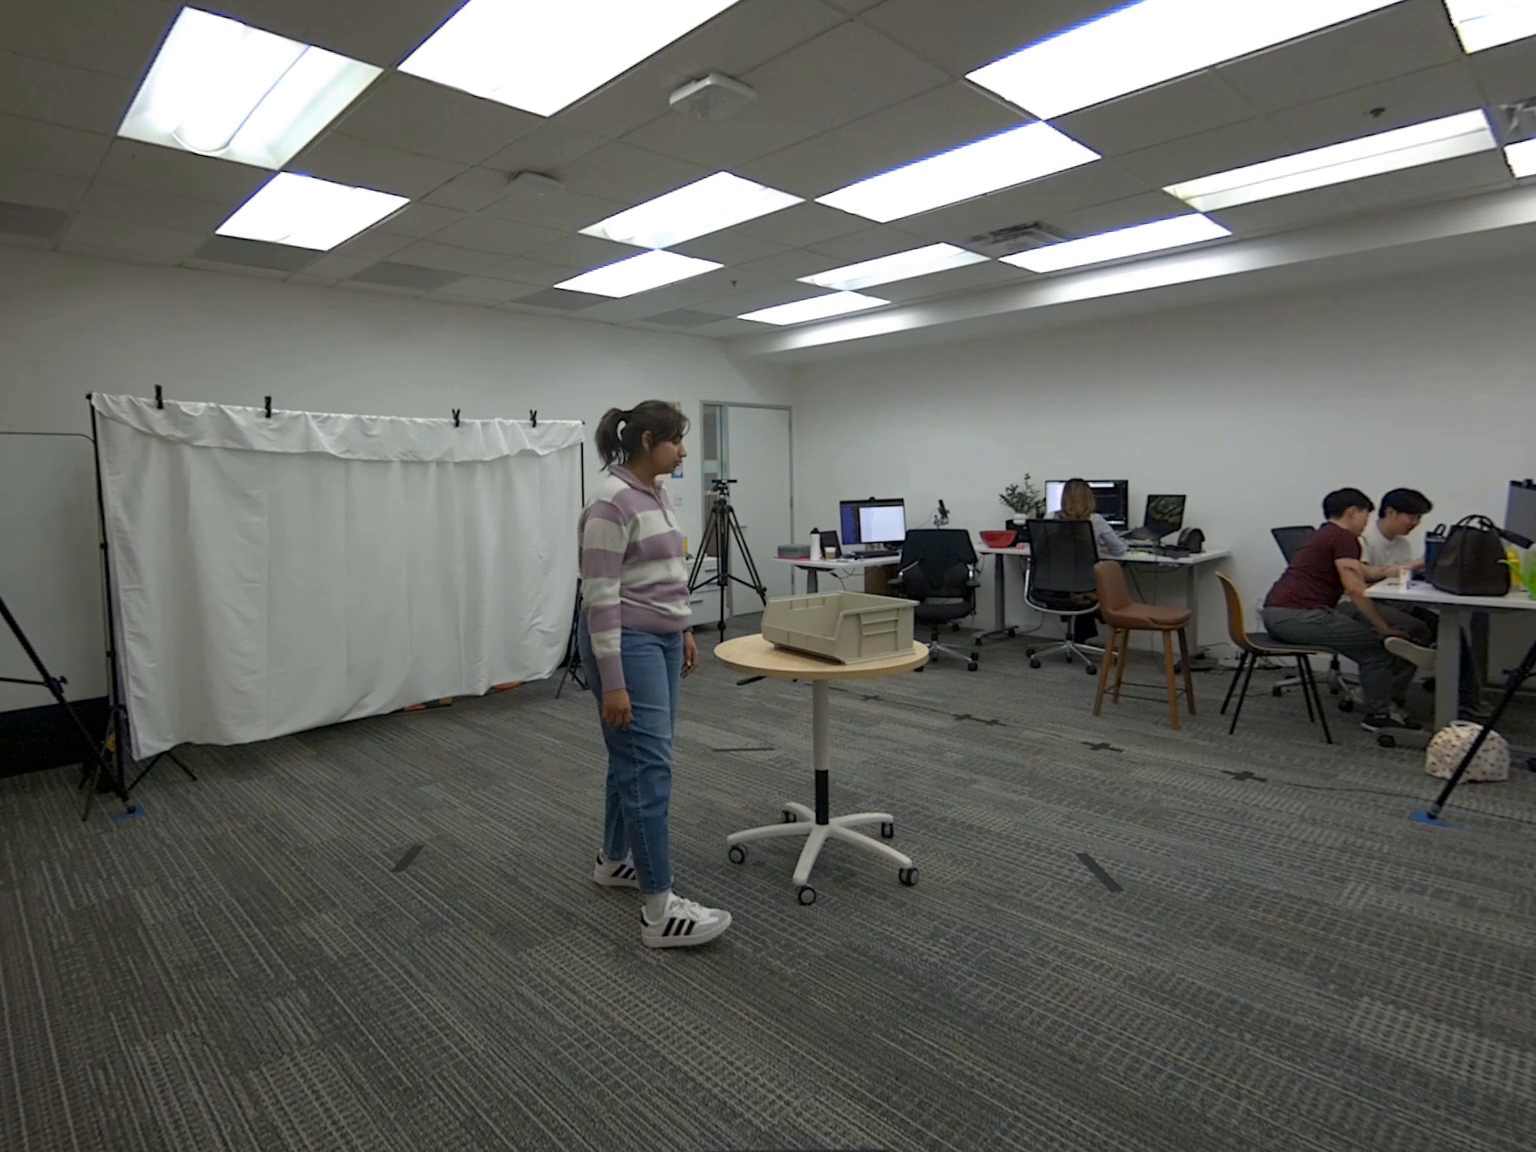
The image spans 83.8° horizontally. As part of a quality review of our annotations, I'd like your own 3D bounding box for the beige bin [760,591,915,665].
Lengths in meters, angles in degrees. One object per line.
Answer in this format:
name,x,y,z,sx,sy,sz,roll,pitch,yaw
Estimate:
beige bin,0.251,0.174,3.024,0.368,0.188,0.434,-4,5,-34
